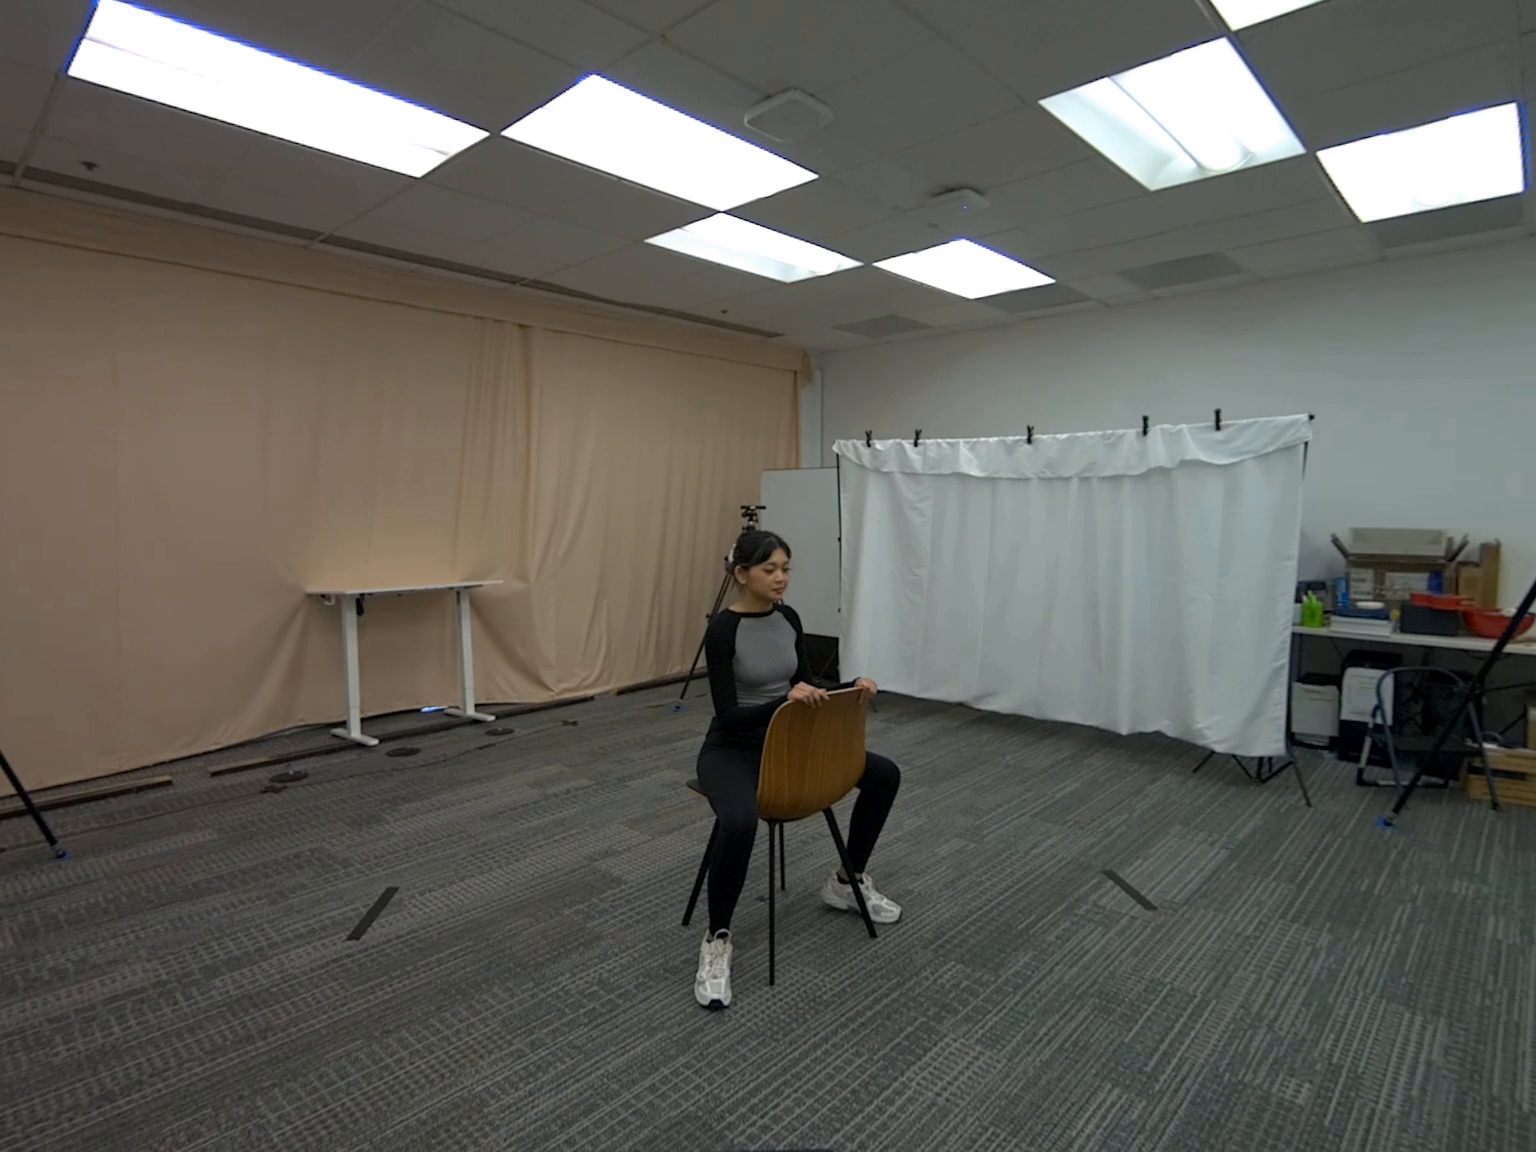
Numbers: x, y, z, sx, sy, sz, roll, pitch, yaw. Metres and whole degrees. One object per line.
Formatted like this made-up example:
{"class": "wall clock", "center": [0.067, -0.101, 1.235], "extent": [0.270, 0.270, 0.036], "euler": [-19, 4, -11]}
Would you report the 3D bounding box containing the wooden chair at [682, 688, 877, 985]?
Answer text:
{"class": "wooden chair", "center": [0.027, 0.739, 2.734], "extent": [0.464, 0.874, 0.541], "euler": [-2, 9, -39]}
